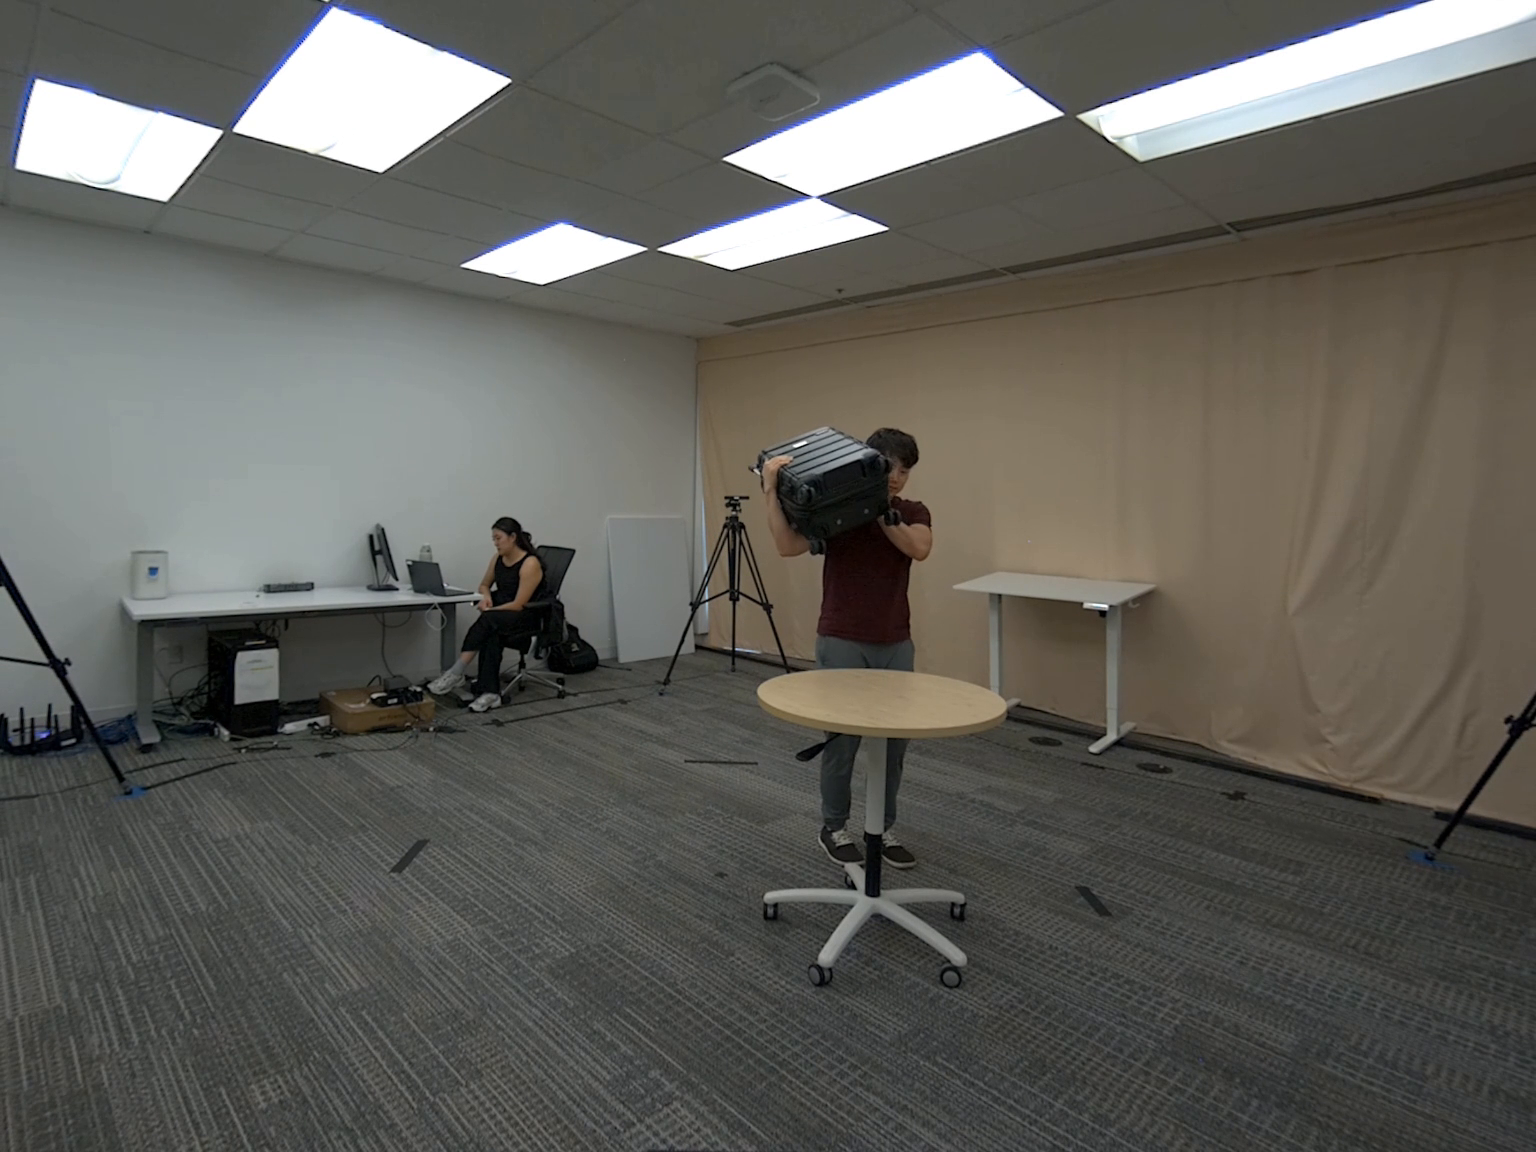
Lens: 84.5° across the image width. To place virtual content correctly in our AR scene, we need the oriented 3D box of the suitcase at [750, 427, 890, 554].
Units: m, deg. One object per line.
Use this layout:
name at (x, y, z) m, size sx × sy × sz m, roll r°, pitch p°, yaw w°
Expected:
suitcase at (0.123, -0.427, 3.284) m, size 0.382 × 0.252 × 1.004 m, roll -20°, pitch 27°, yaw -11°
